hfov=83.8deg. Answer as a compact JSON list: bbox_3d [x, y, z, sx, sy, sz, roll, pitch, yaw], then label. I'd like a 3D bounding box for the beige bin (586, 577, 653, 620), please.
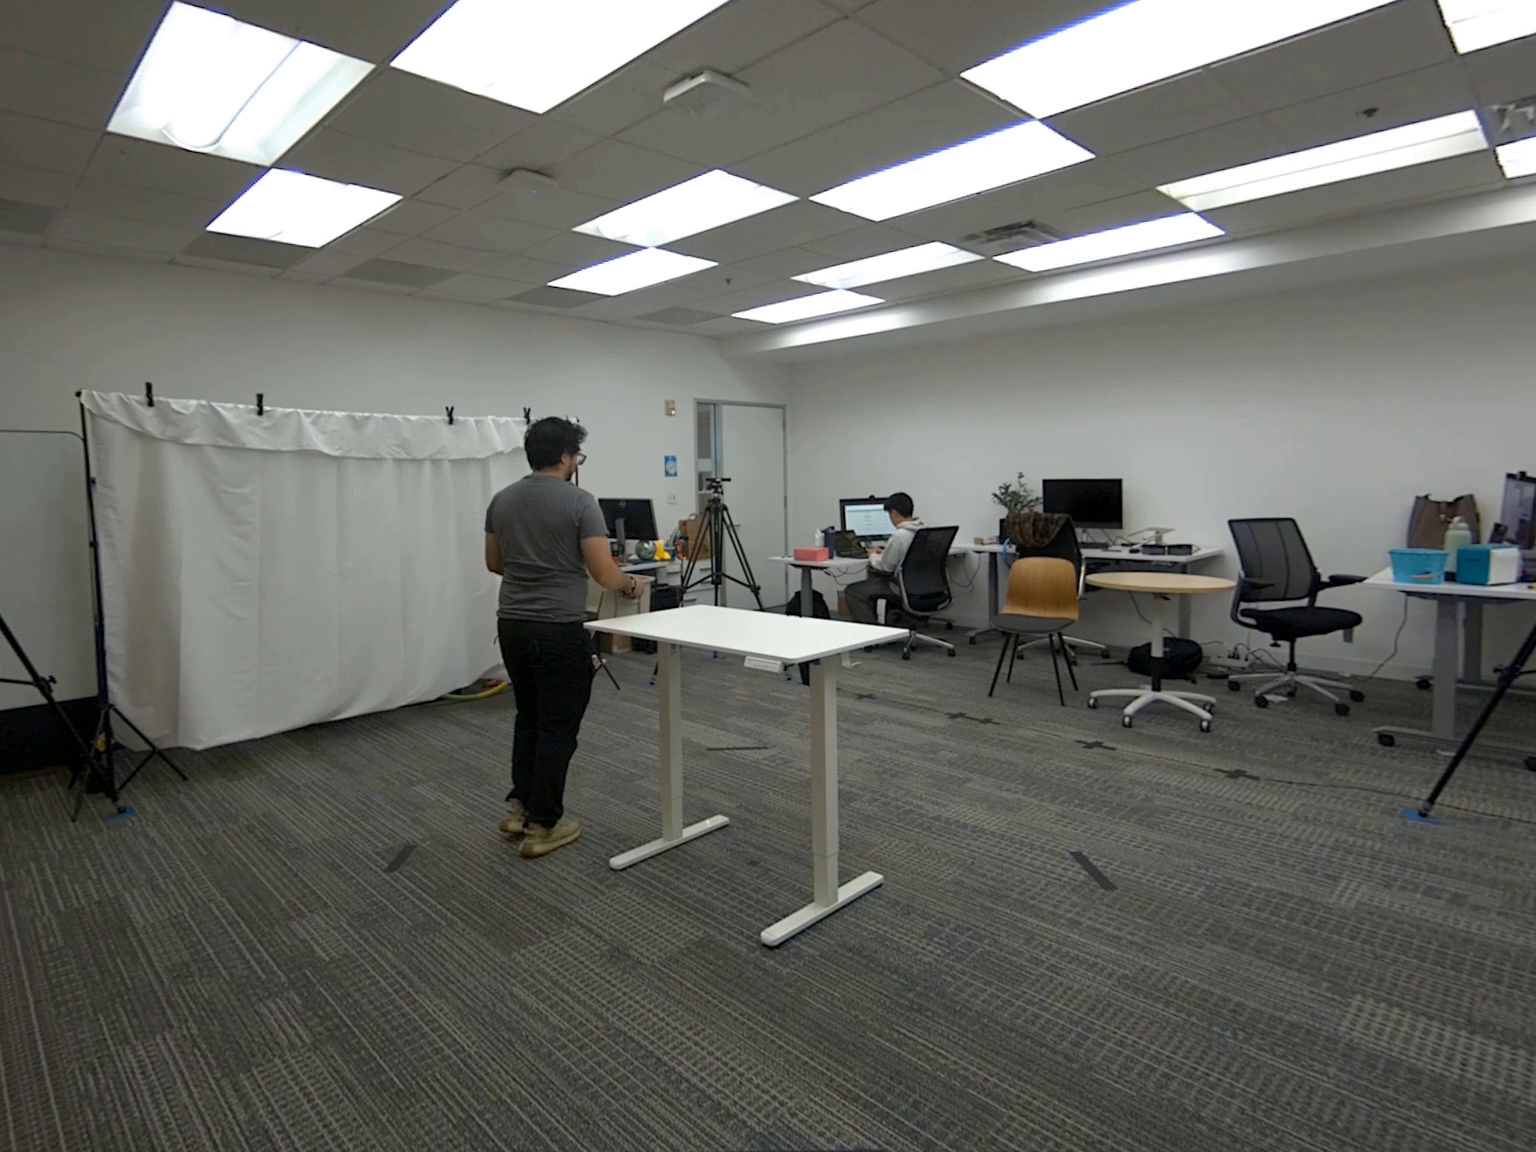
[{"bbox_3d":[-0.757,0.092,3.595,0.434,0.188,0.369,5,7,29],"label":"beige bin"}]
